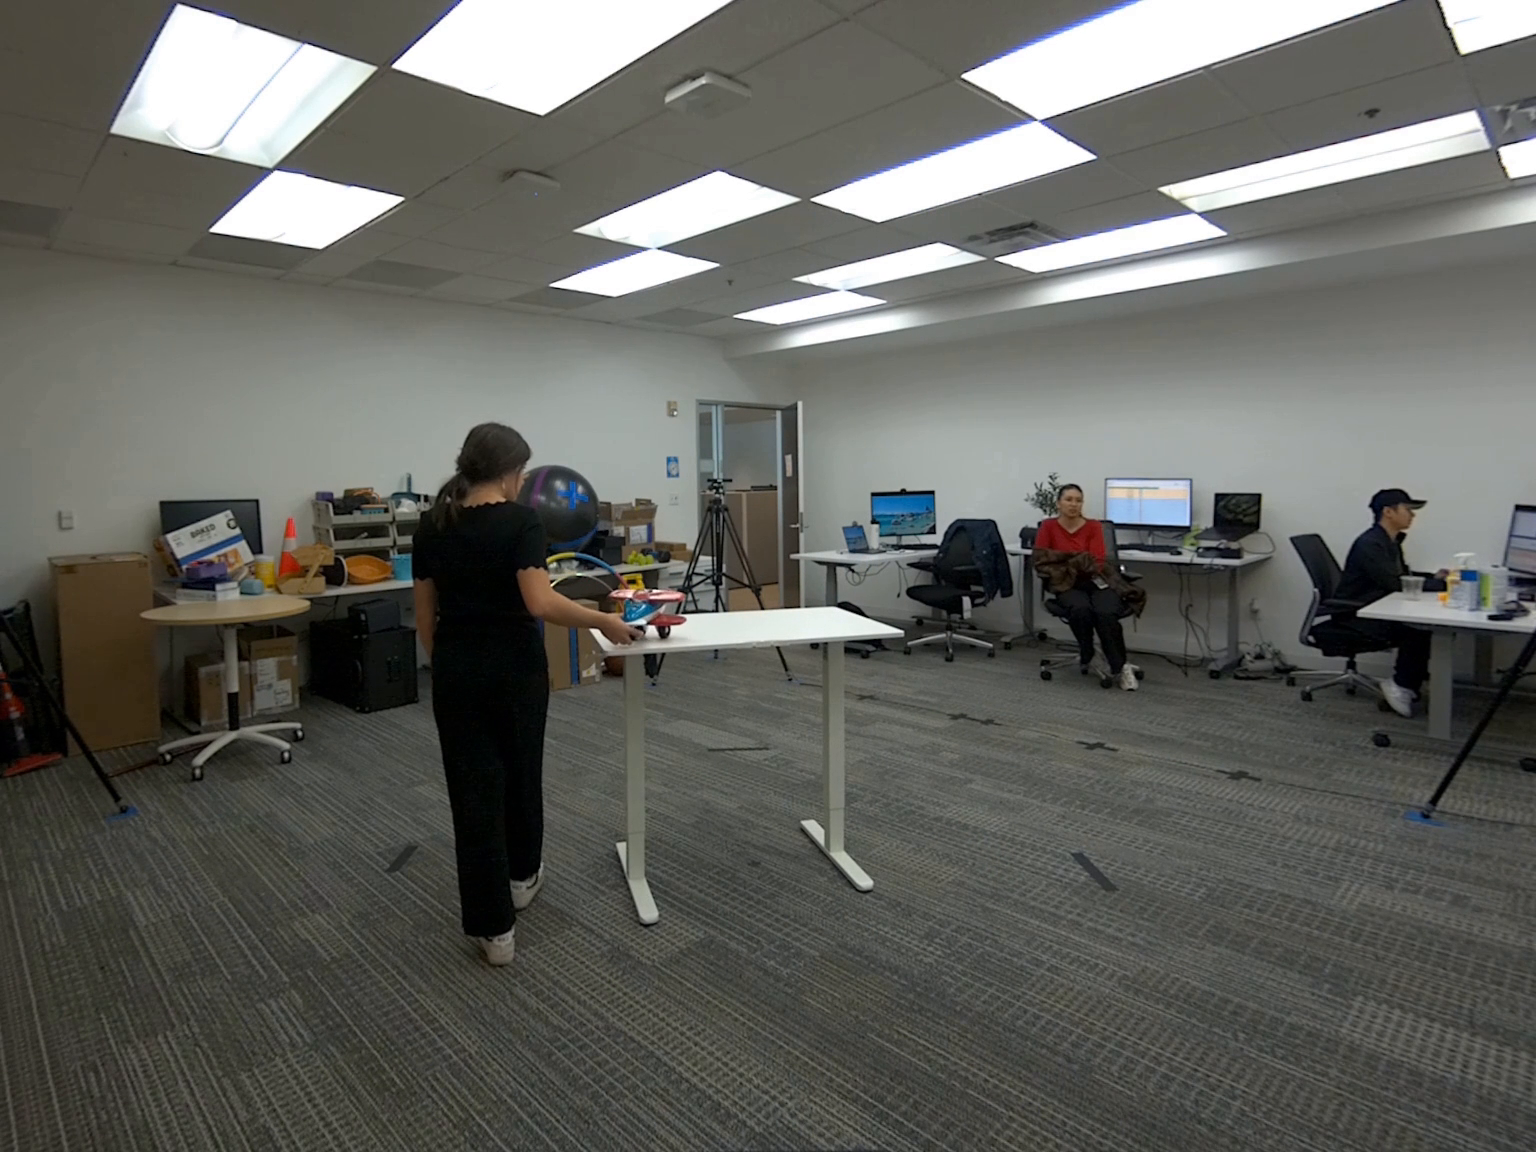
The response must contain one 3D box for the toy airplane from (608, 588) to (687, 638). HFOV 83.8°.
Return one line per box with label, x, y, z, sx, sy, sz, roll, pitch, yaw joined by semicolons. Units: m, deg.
toy airplane;-0.381;0.124;2.722;0.248;0.157;0.261;2;-2;-11
